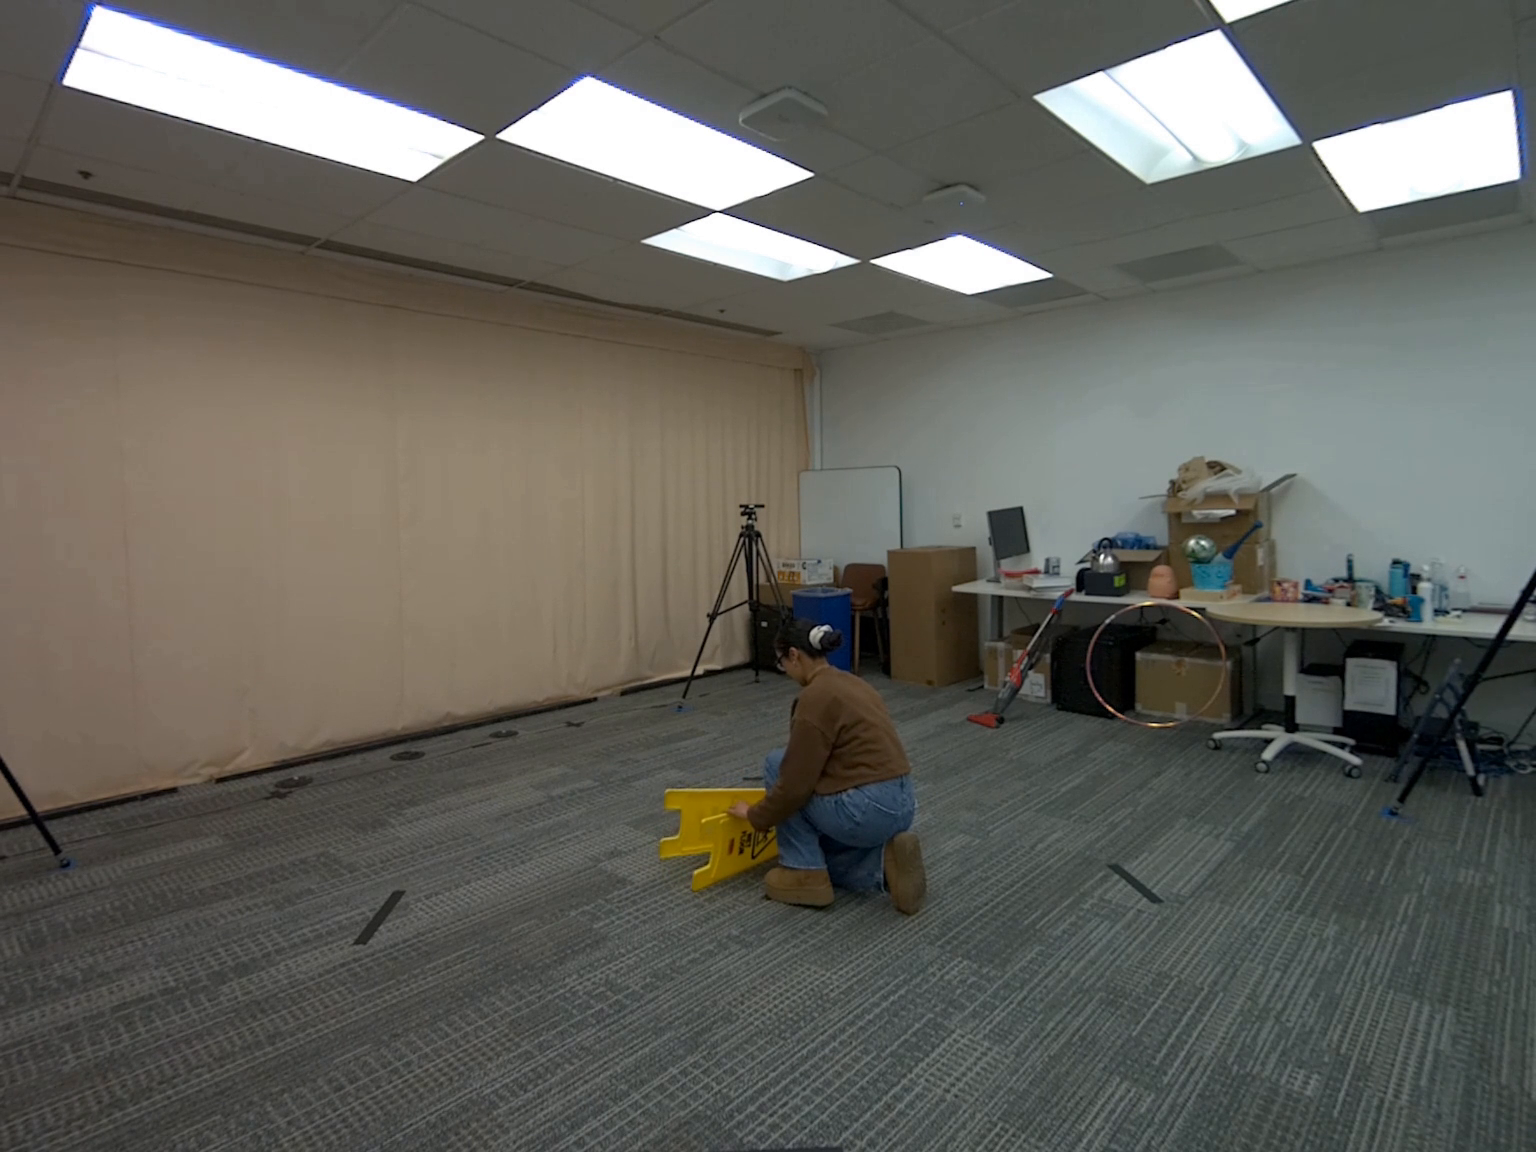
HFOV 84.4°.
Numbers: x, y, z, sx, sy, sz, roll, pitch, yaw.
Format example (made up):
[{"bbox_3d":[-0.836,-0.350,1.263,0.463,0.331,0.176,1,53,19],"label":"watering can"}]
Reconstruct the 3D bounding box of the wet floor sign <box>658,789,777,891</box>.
[{"bbox_3d":[-0.068,0.978,3.299,0.627,0.281,0.299,-1,11,-33],"label":"wet floor sign"}]
